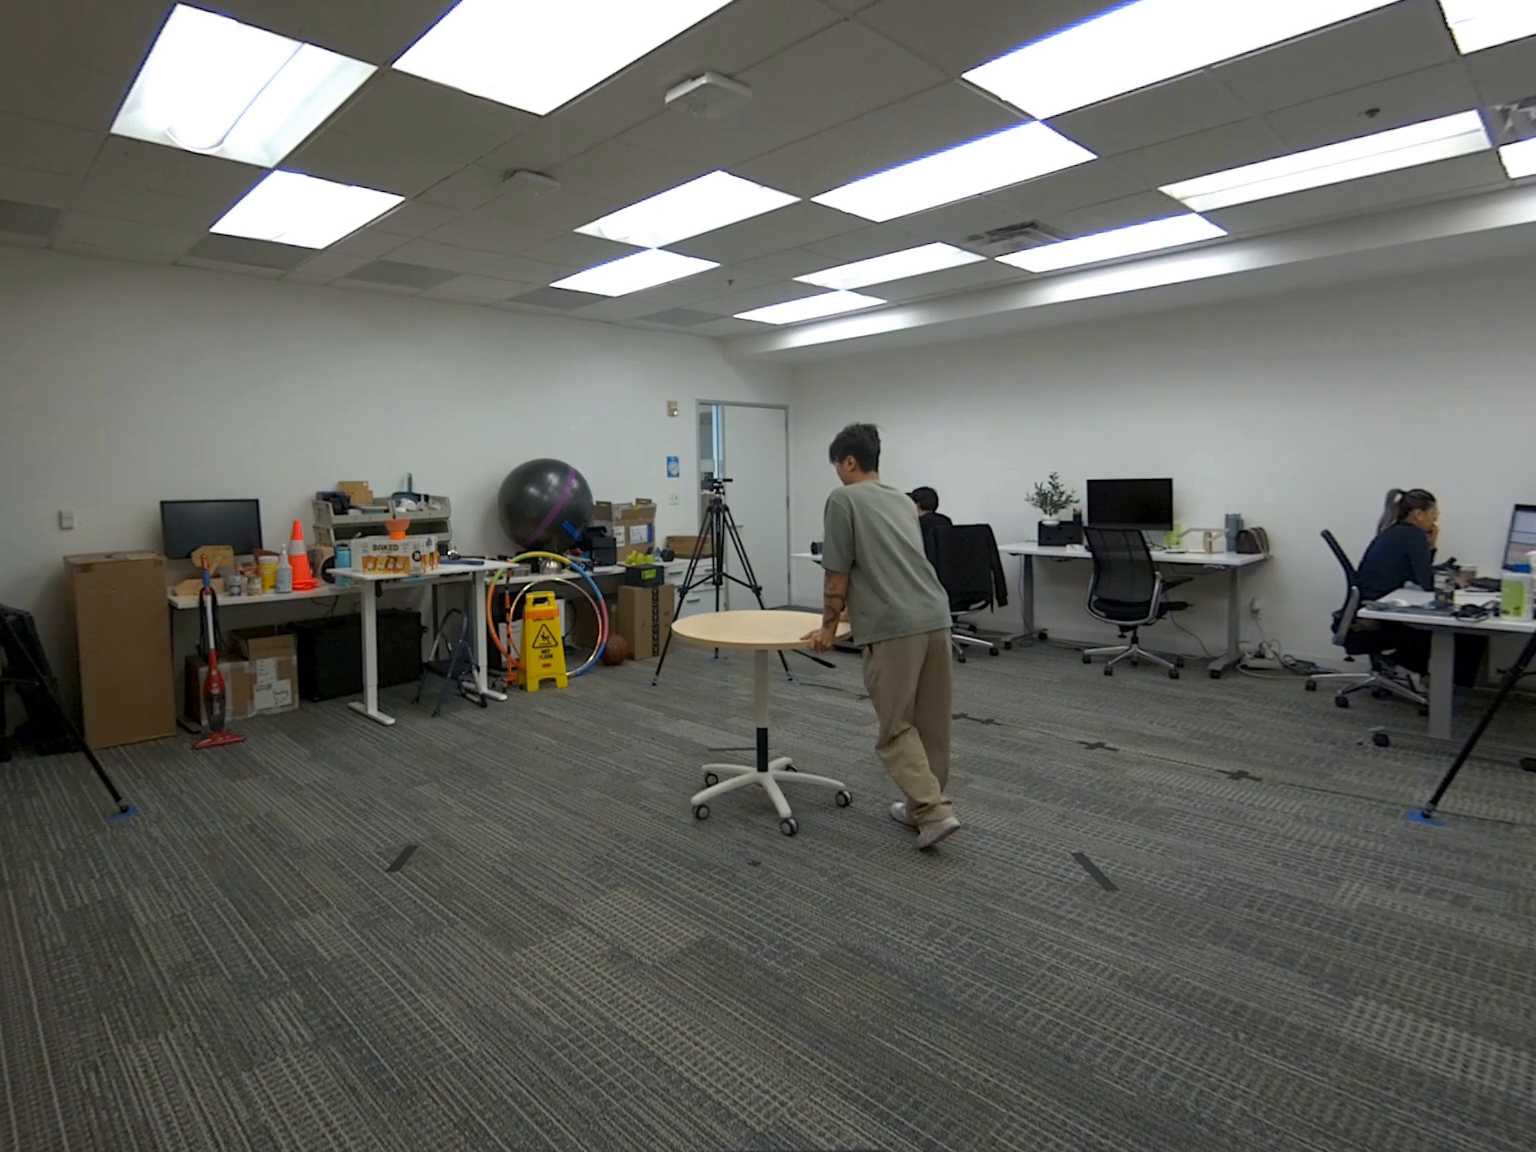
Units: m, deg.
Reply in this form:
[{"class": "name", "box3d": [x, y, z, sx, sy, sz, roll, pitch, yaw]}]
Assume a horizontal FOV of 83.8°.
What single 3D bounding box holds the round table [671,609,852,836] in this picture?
[{"class": "round table", "box3d": [-0.029, 0.590, 3.682, 0.784, 0.783, 0.789, 0, 5, -2]}]
